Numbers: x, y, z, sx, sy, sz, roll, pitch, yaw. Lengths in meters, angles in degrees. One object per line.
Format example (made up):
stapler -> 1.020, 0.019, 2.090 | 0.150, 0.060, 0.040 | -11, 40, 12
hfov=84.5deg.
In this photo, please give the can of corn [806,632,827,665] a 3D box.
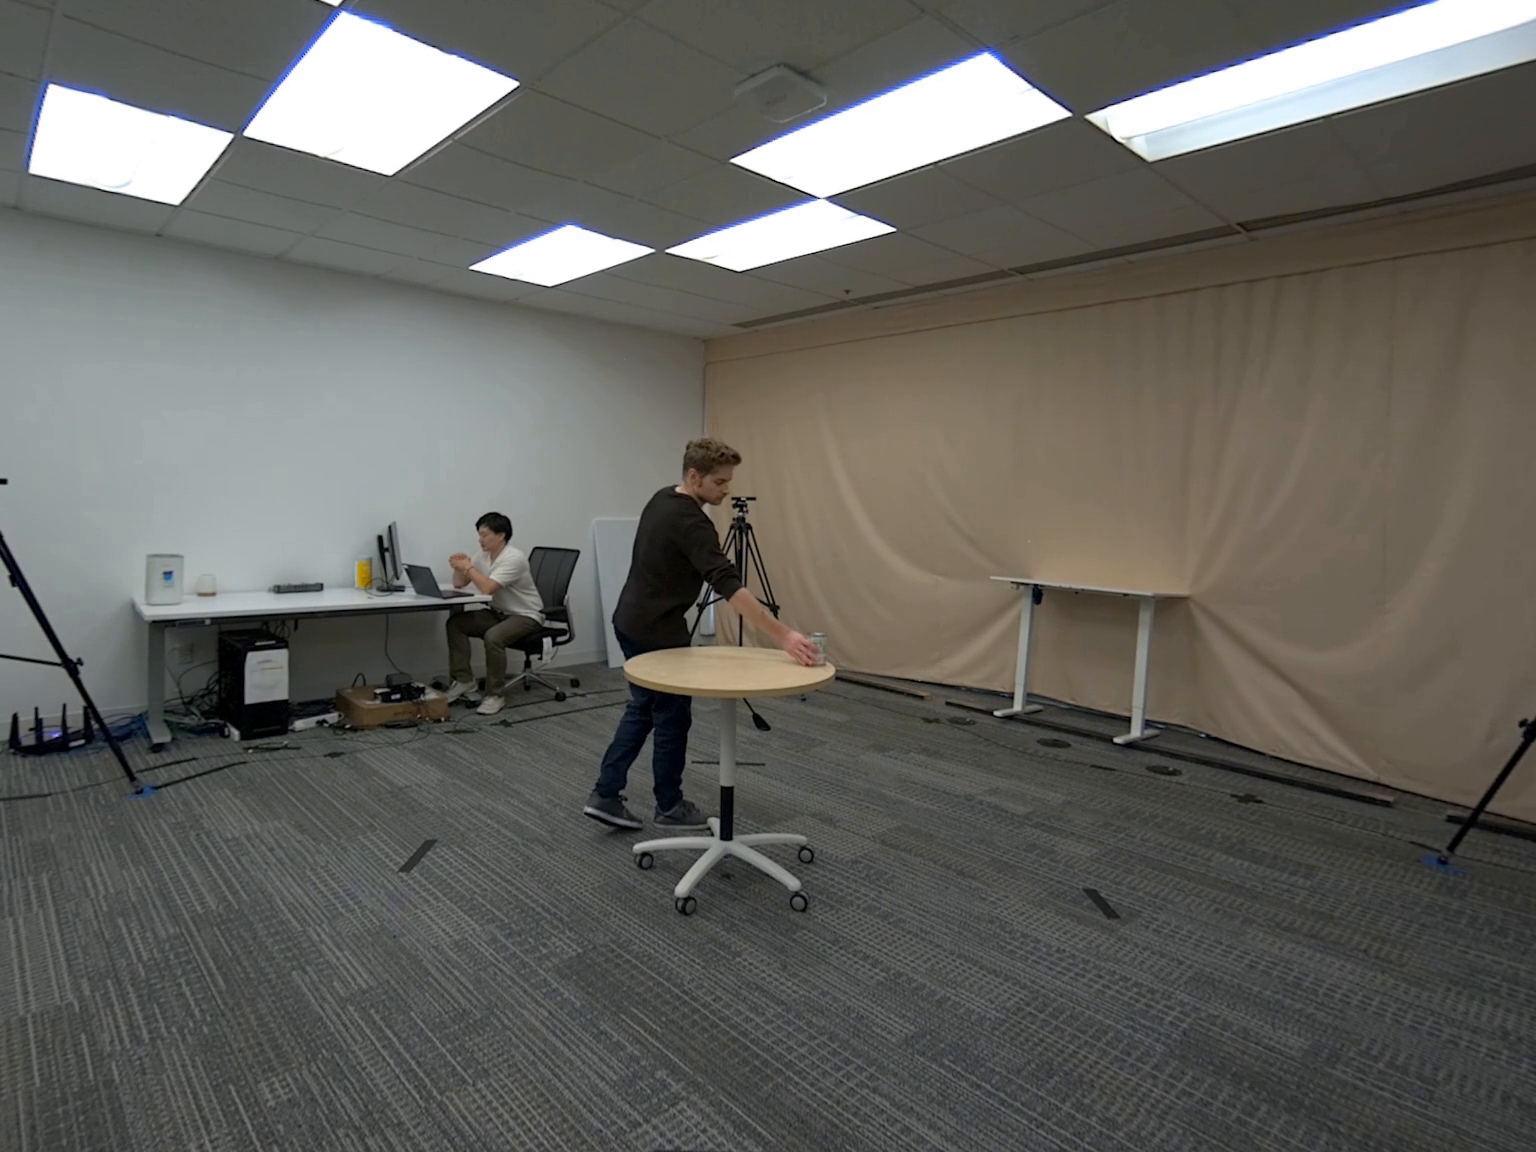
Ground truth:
can of corn -> 0.170, 0.275, 3.101 | 0.074, 0.111, 0.074 | 2, 4, -2
